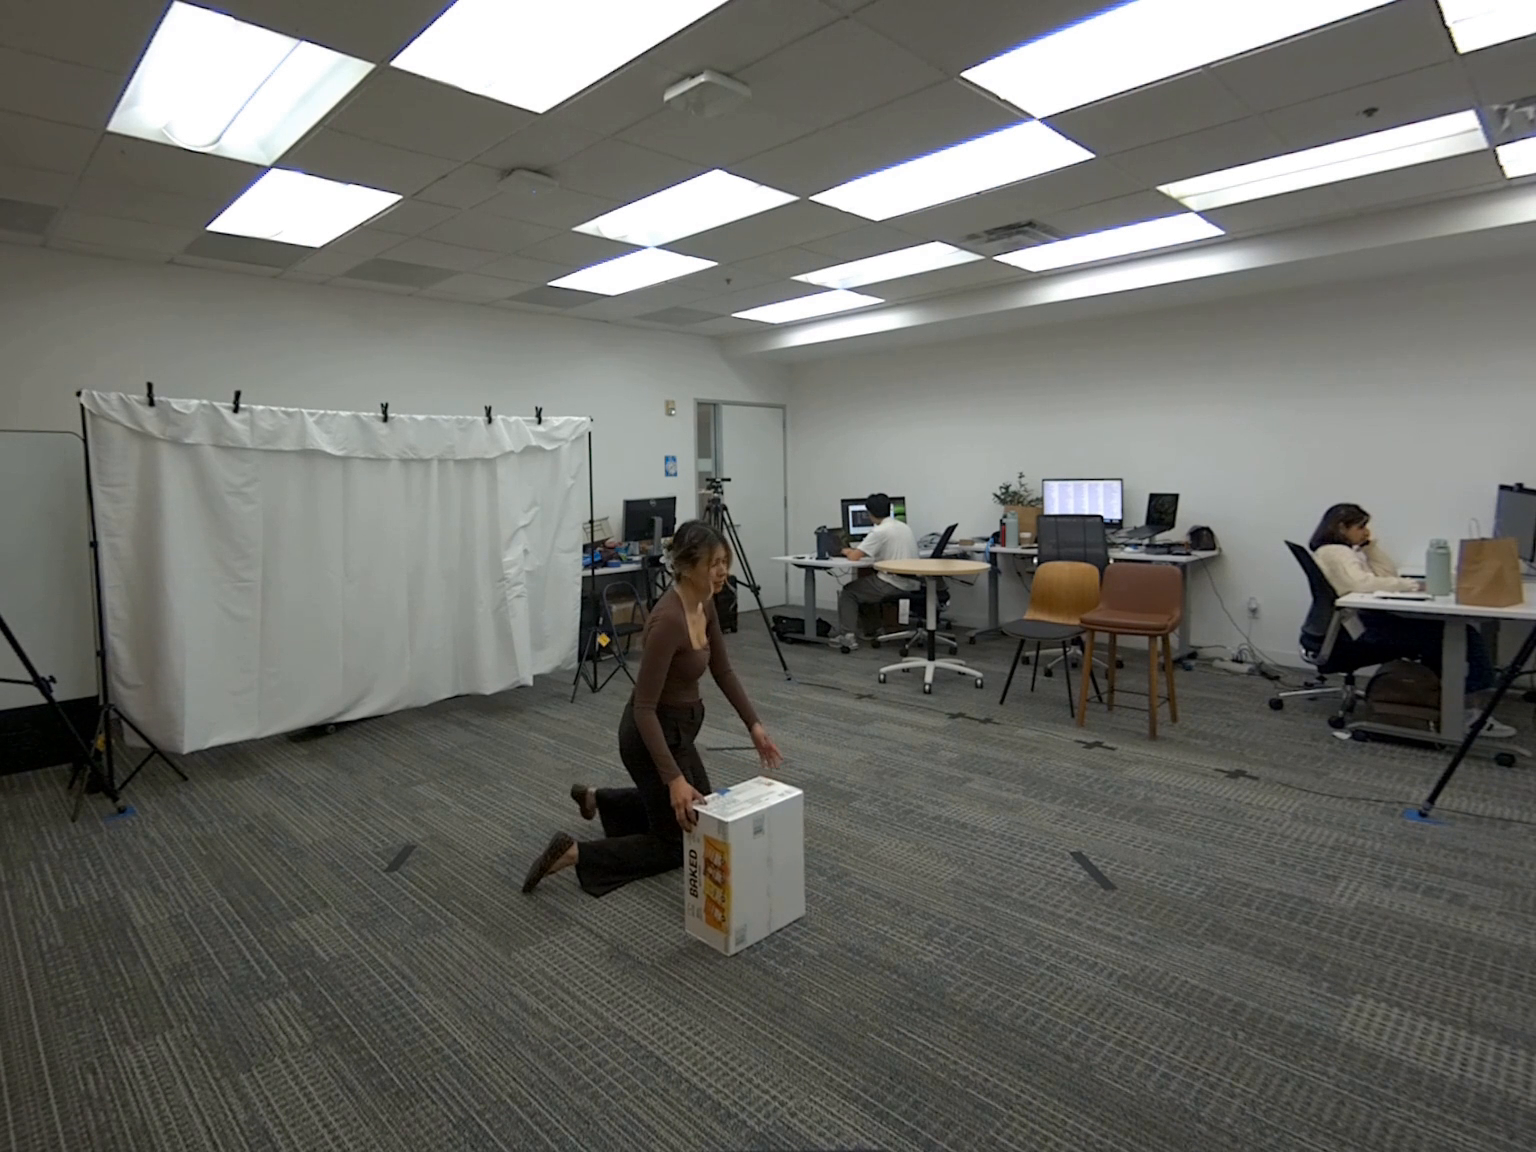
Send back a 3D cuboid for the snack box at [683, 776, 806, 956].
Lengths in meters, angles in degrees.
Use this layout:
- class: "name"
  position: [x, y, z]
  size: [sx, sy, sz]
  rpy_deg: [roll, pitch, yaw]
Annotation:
- class: "snack box"
  position: [-0.067, 0.892, 2.671]
  size: [0.212, 0.404, 0.331]
  rpy_deg: [2, 6, 45]
